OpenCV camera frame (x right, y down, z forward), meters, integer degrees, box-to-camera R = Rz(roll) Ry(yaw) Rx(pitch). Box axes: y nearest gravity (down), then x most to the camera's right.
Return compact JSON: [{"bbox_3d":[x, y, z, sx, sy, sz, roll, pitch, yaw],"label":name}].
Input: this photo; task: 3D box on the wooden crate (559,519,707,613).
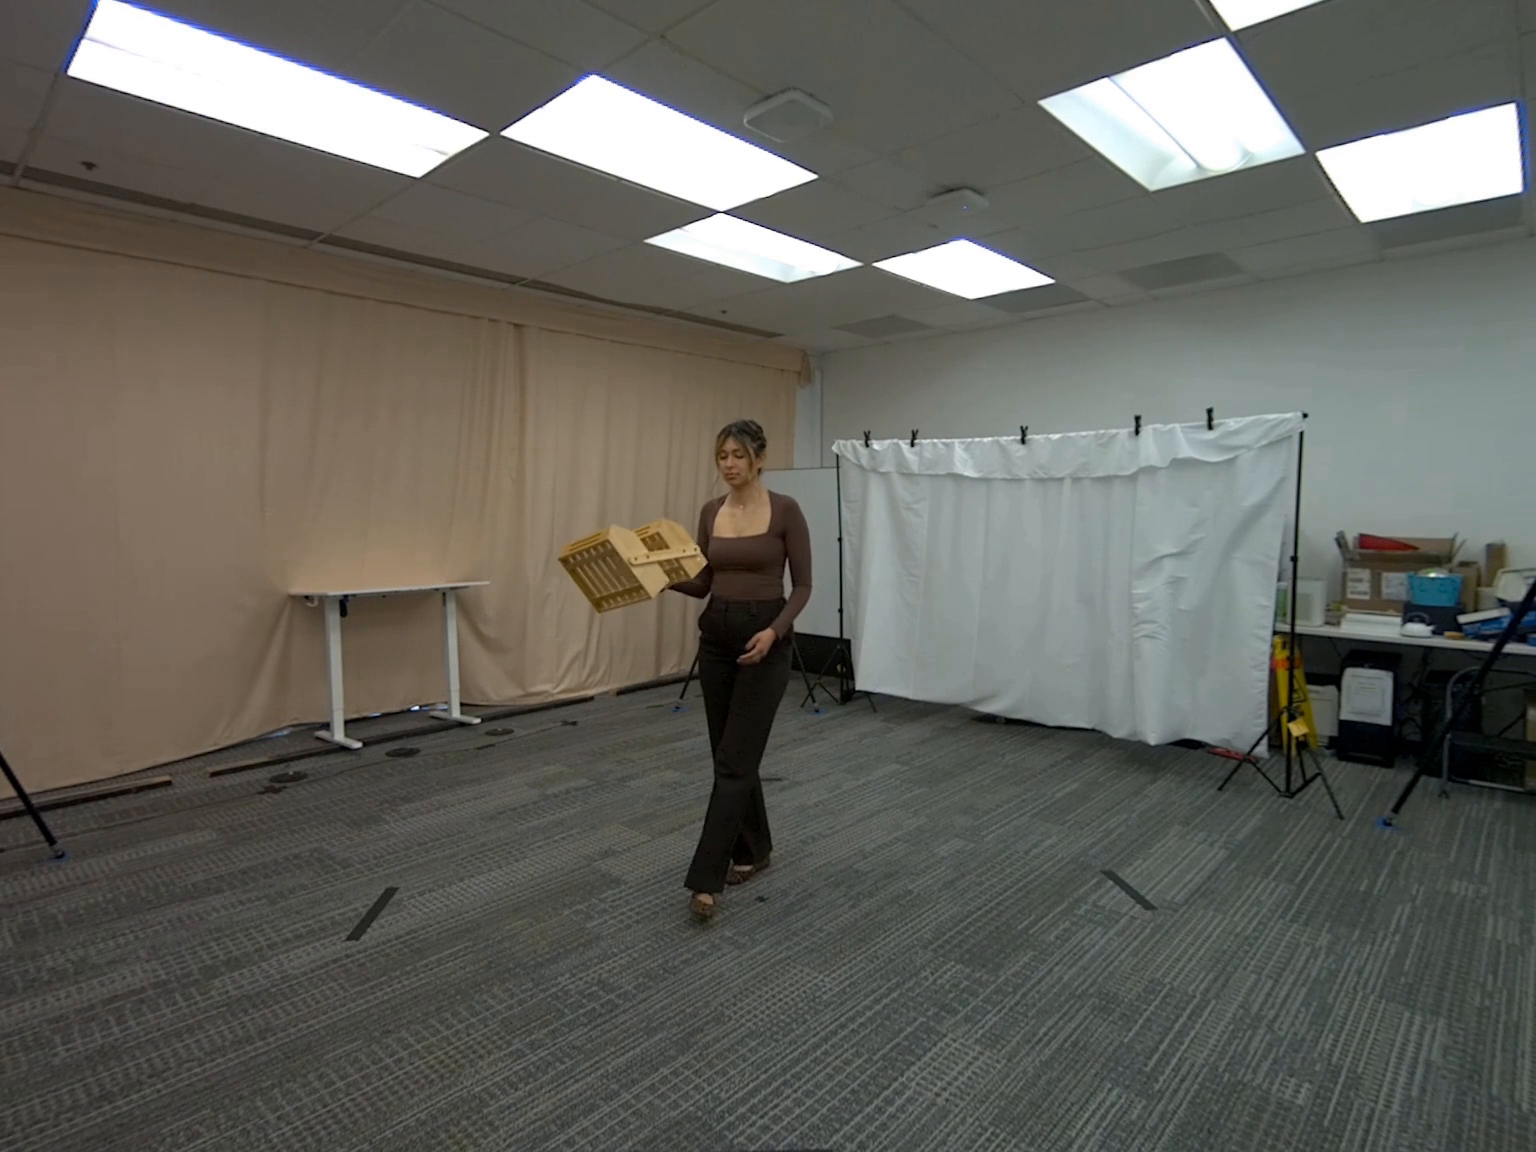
[{"bbox_3d":[-0.436,-0.058,2.718,0.333,0.297,0.271,-16,24,46],"label":"wooden crate"}]
